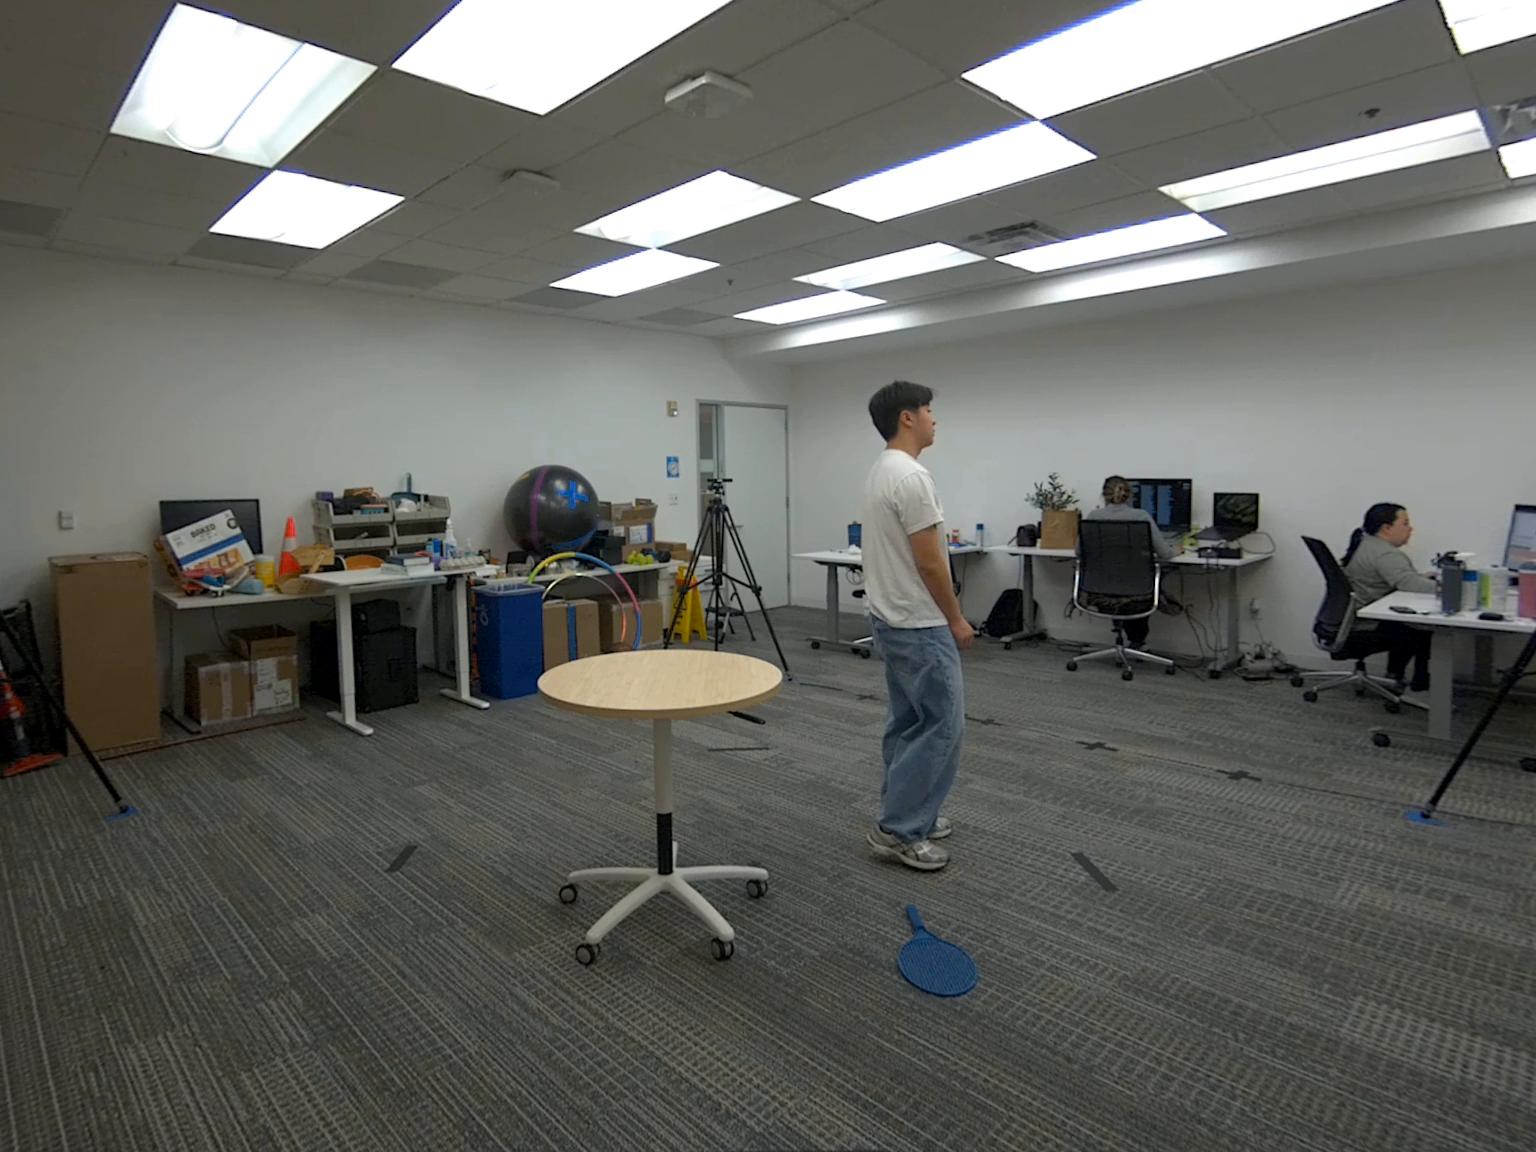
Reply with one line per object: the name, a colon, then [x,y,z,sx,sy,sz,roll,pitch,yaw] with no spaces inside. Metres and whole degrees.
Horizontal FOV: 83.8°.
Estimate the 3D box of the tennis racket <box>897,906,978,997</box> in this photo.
tennis racket: [0.477,1.092,2.505,0.214,0.031,0.435,-2,8,-1]
